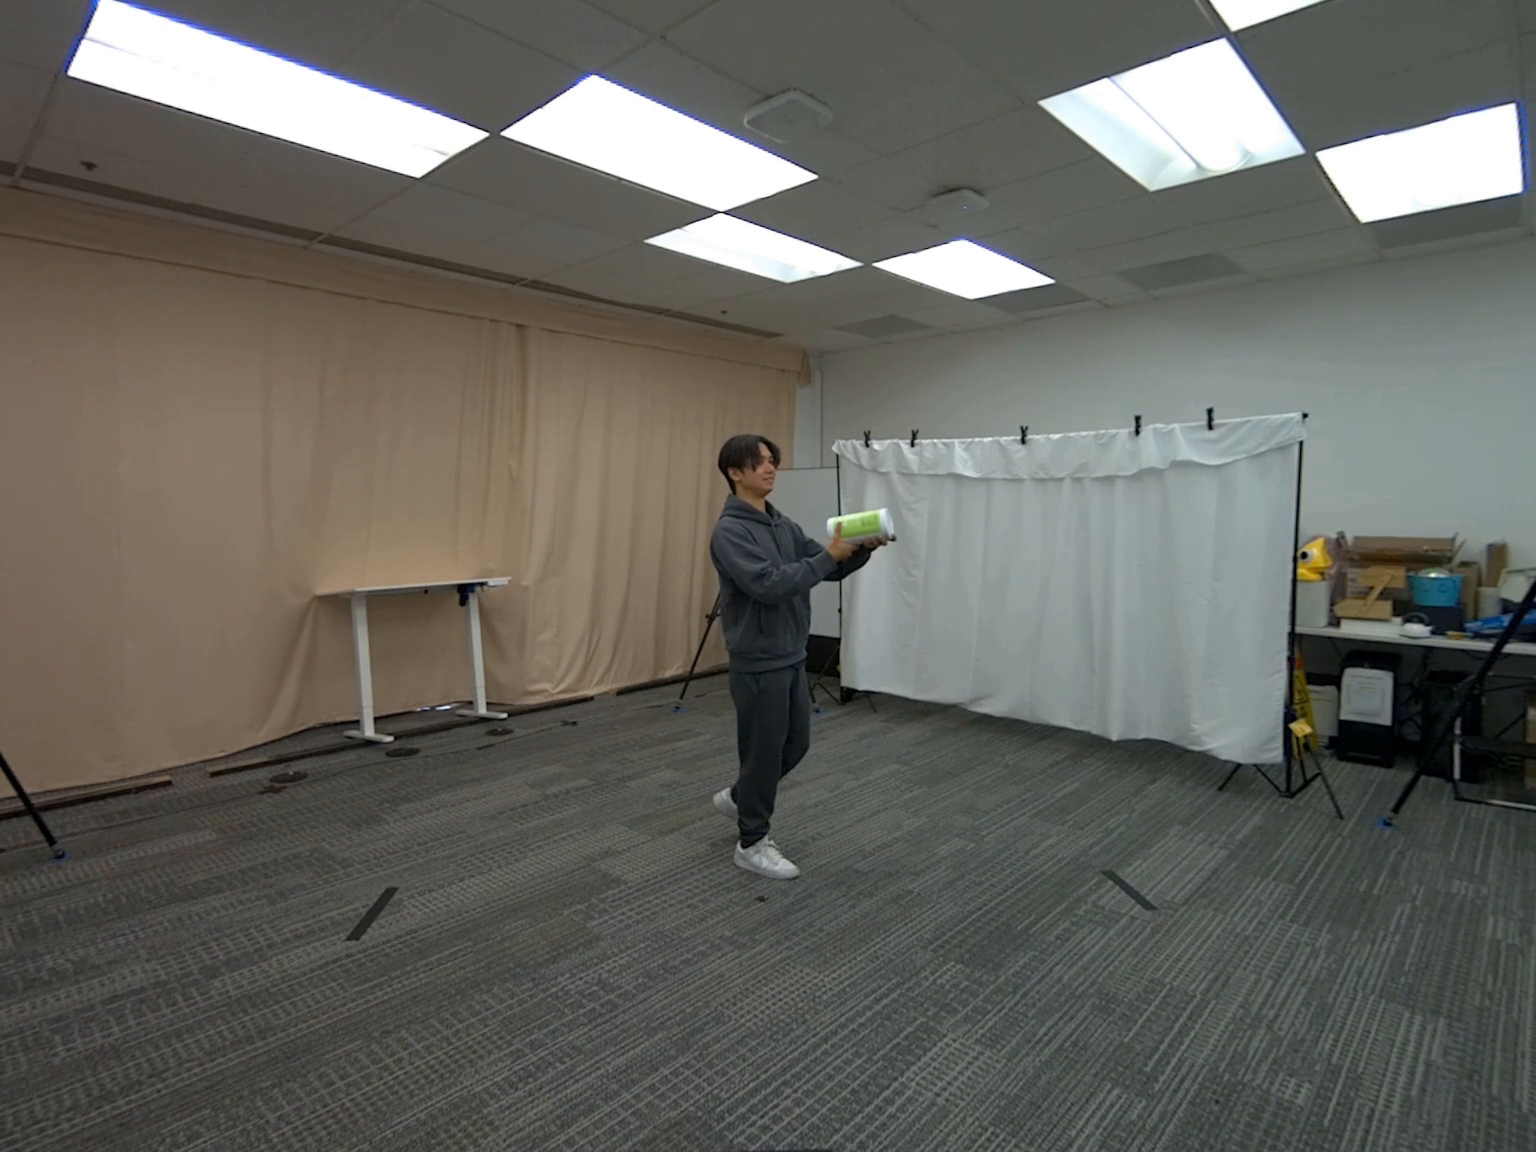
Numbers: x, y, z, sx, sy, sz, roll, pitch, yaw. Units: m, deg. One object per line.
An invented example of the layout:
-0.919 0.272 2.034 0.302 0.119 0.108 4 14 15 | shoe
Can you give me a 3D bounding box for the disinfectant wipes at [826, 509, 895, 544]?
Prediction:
0.328 -0.168 2.957 0.222 0.118 0.115 -10 0 22 | disinfectant wipes
